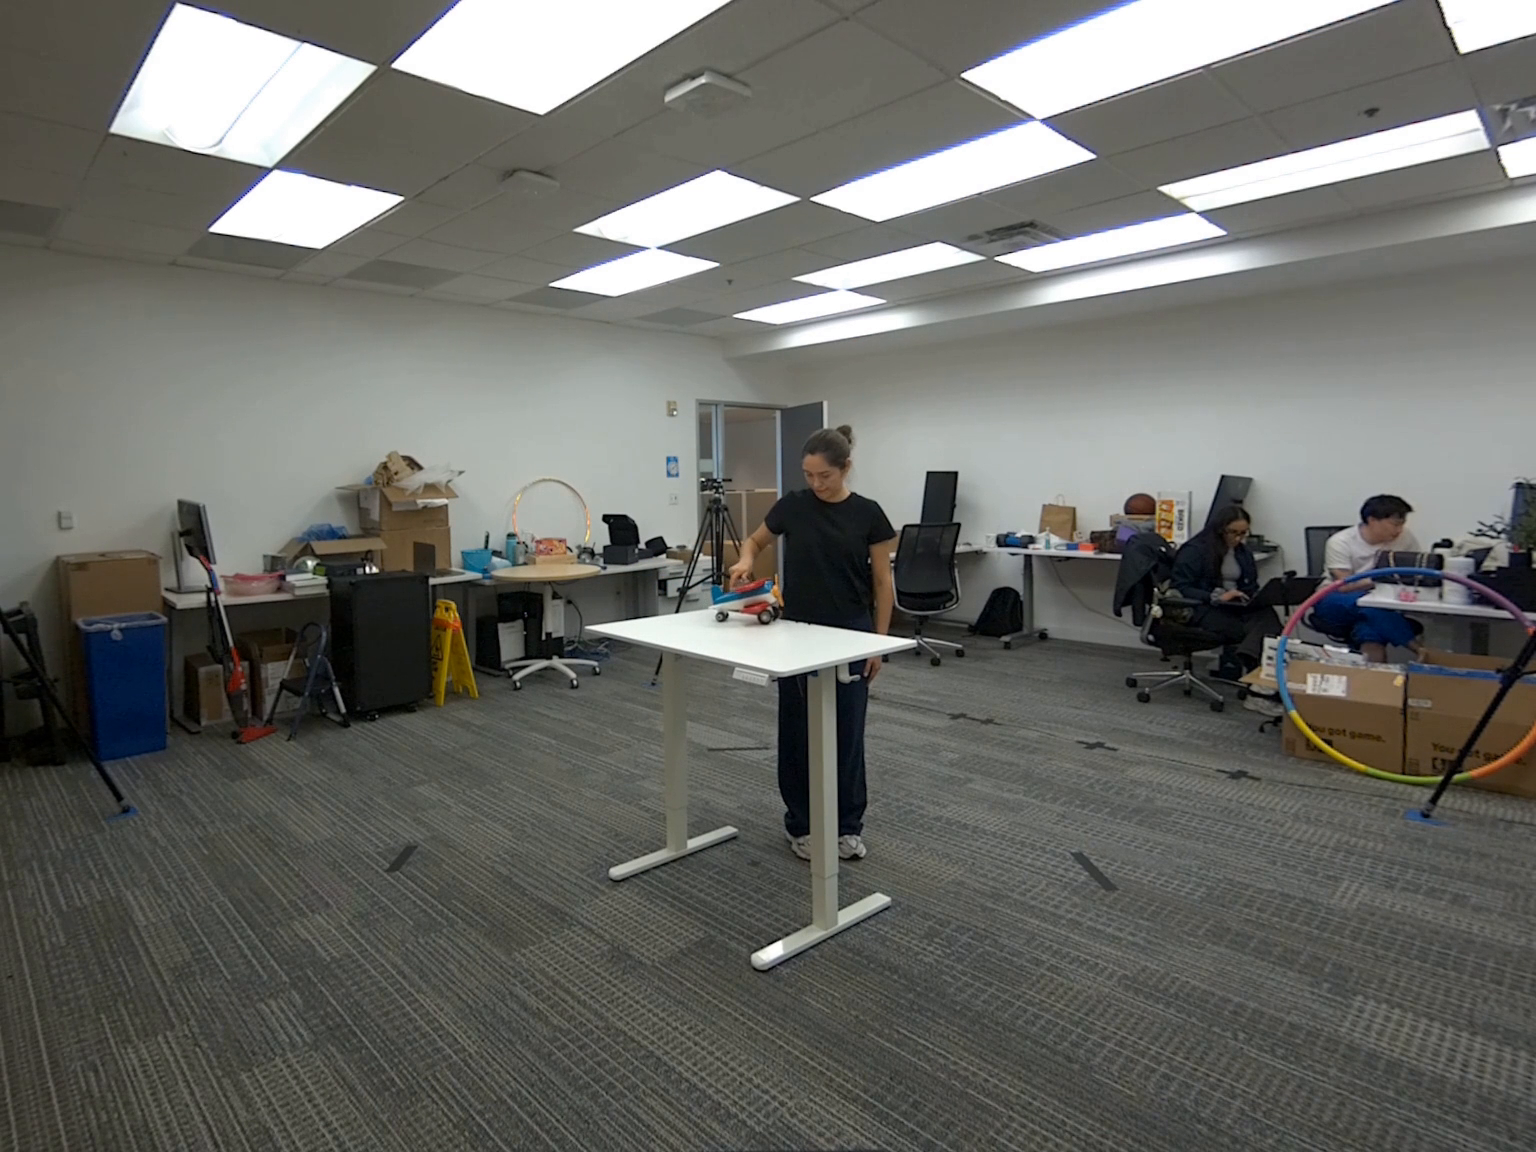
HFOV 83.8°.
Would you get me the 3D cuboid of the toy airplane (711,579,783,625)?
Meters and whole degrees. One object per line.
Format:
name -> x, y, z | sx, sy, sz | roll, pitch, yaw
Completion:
toy airplane -> -0.084, 0.088, 3.074 | 0.256, 0.156, 0.255 | -1, 6, -11
